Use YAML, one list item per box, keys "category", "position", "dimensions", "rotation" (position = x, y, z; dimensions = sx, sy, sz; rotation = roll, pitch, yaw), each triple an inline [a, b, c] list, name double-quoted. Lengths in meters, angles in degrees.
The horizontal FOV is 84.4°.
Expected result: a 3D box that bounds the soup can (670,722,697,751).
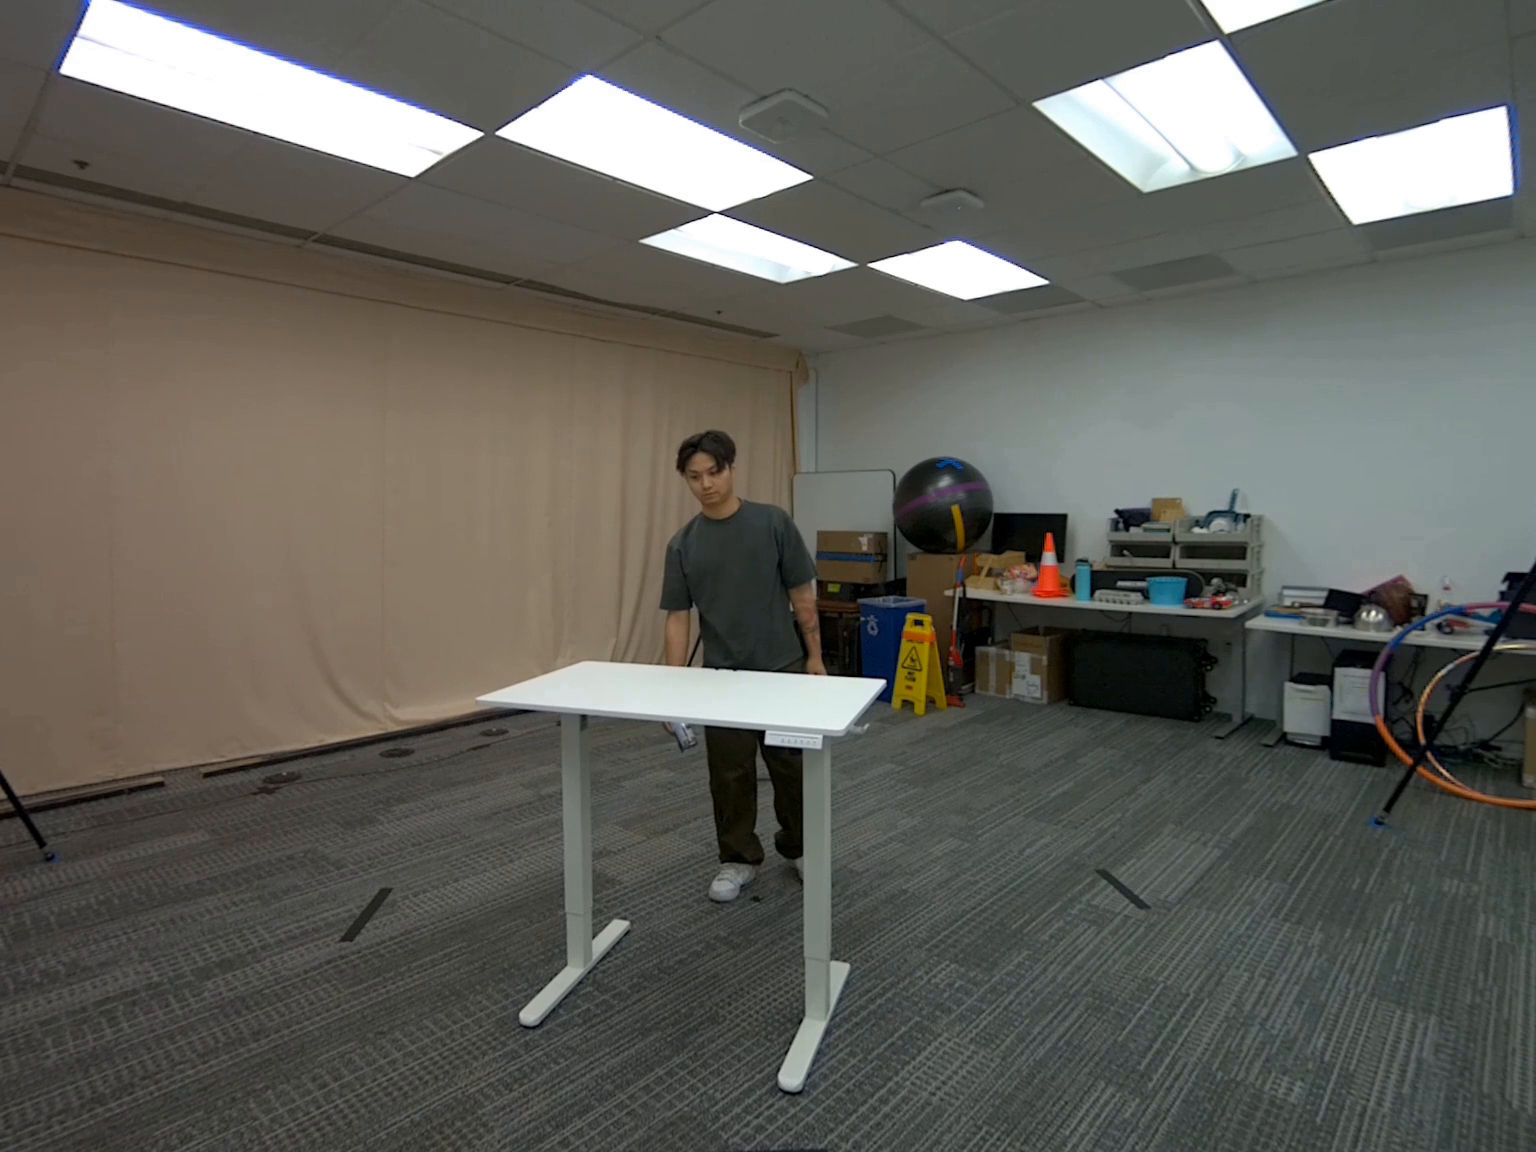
- category: "soup can"
  position: [-0.289, 0.539, 2.918]
  dimensions: [0.067, 0.123, 0.066]
  rotation: [-26, -11, -7]
